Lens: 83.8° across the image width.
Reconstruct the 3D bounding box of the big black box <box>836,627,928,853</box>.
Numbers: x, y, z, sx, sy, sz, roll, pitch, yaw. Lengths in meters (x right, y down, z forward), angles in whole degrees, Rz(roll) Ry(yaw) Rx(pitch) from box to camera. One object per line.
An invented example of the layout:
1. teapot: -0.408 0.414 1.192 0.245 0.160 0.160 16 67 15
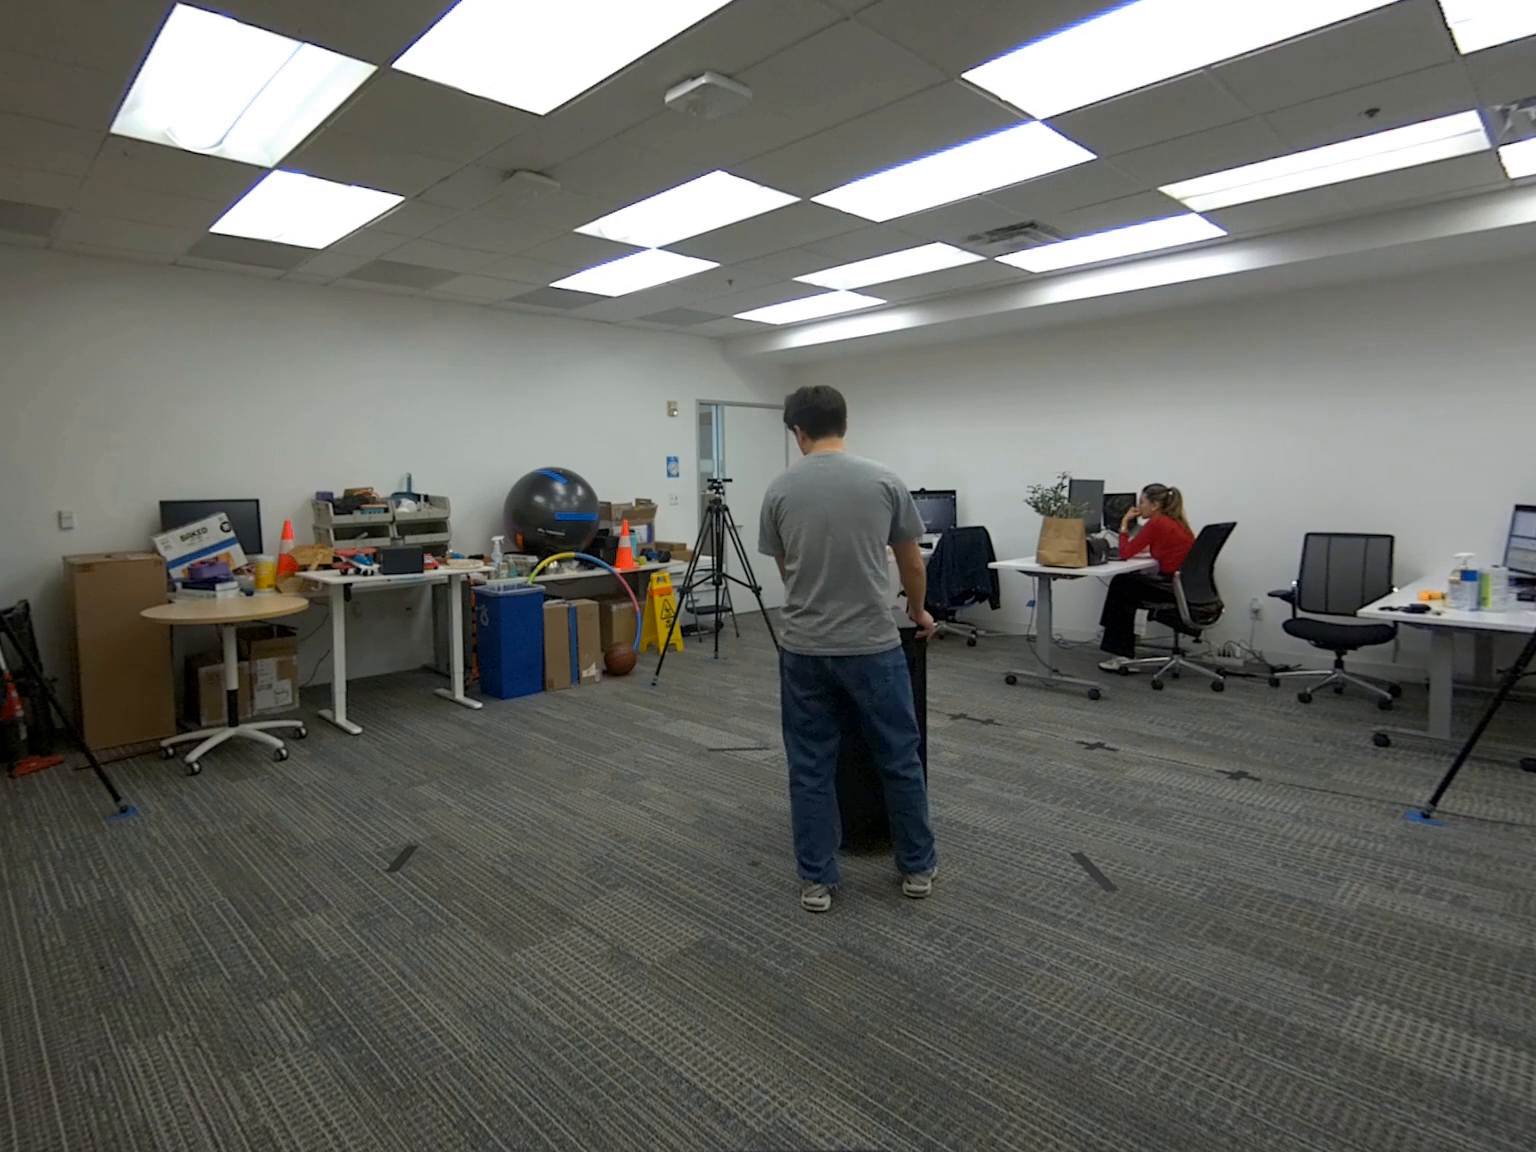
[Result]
1. big black box: 0.387 0.590 3.345 0.396 0.858 0.523 -1 5 -1
